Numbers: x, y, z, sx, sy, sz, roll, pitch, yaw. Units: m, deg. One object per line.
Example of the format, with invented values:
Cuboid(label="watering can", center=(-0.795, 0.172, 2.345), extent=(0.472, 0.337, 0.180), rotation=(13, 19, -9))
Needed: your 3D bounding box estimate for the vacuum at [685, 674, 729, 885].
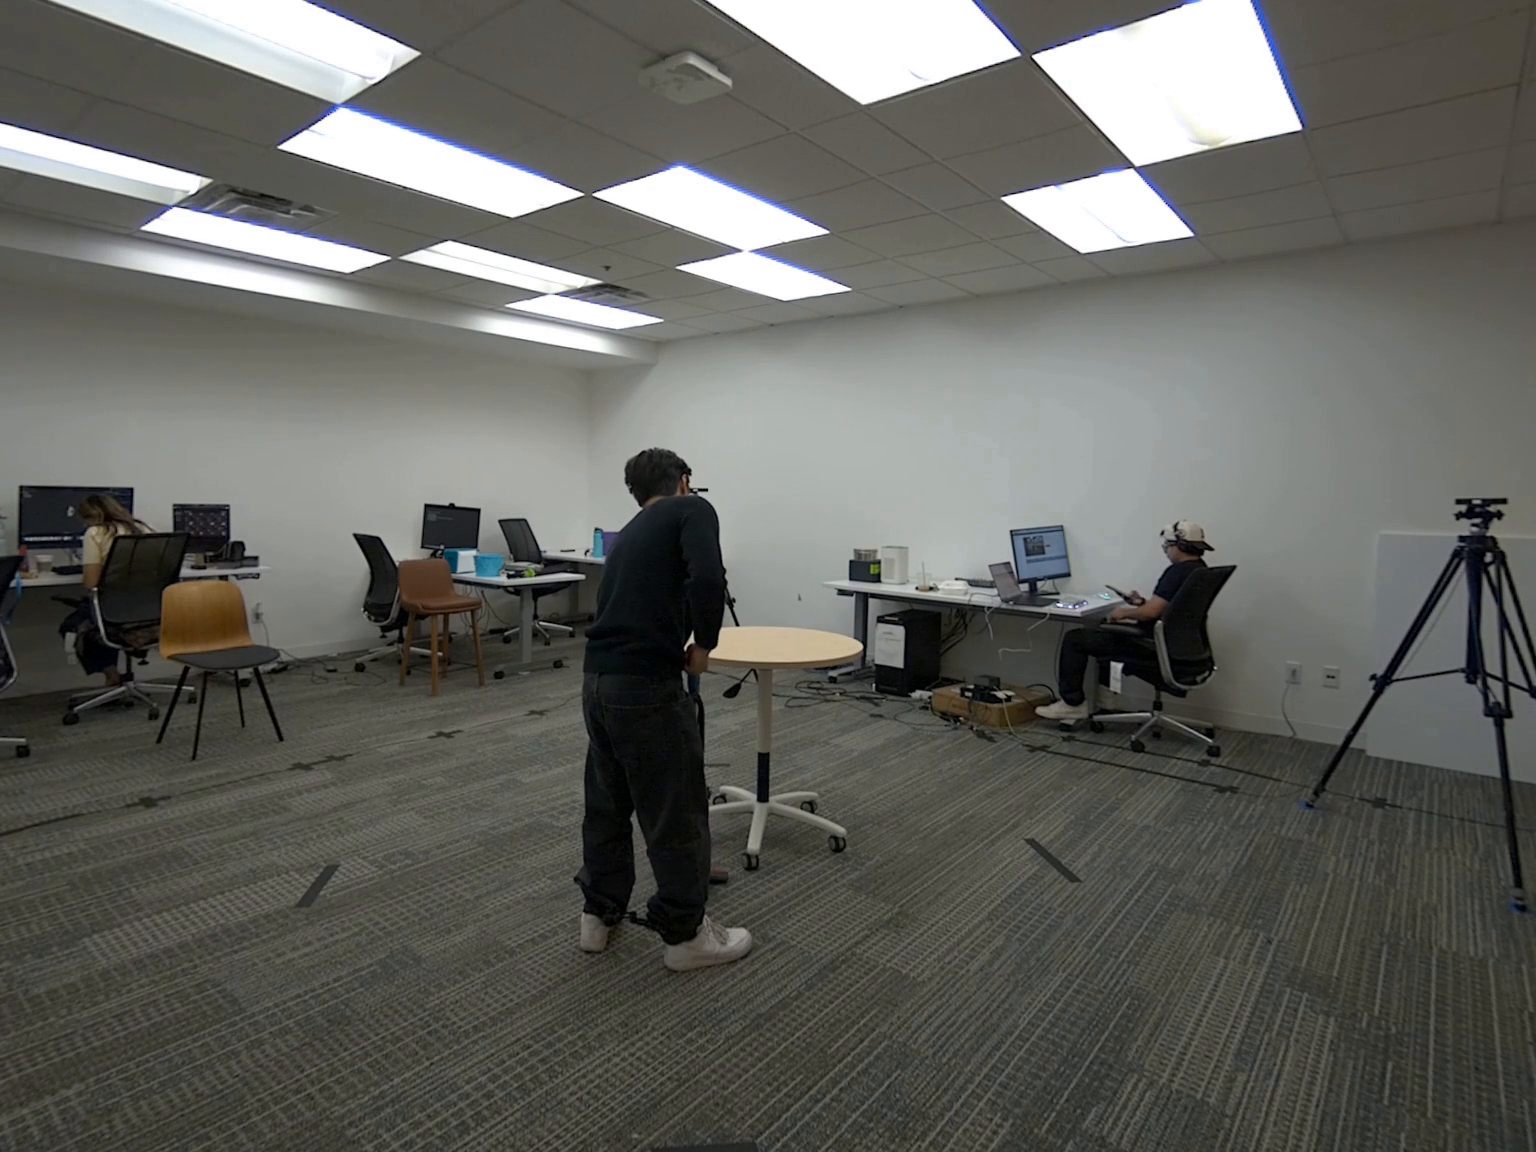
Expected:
Cuboid(label="vacuum", center=(-0.255, 0.627, 2.723), extent=(0.252, 1.023, 0.148), rotation=(1, 32, -2))
